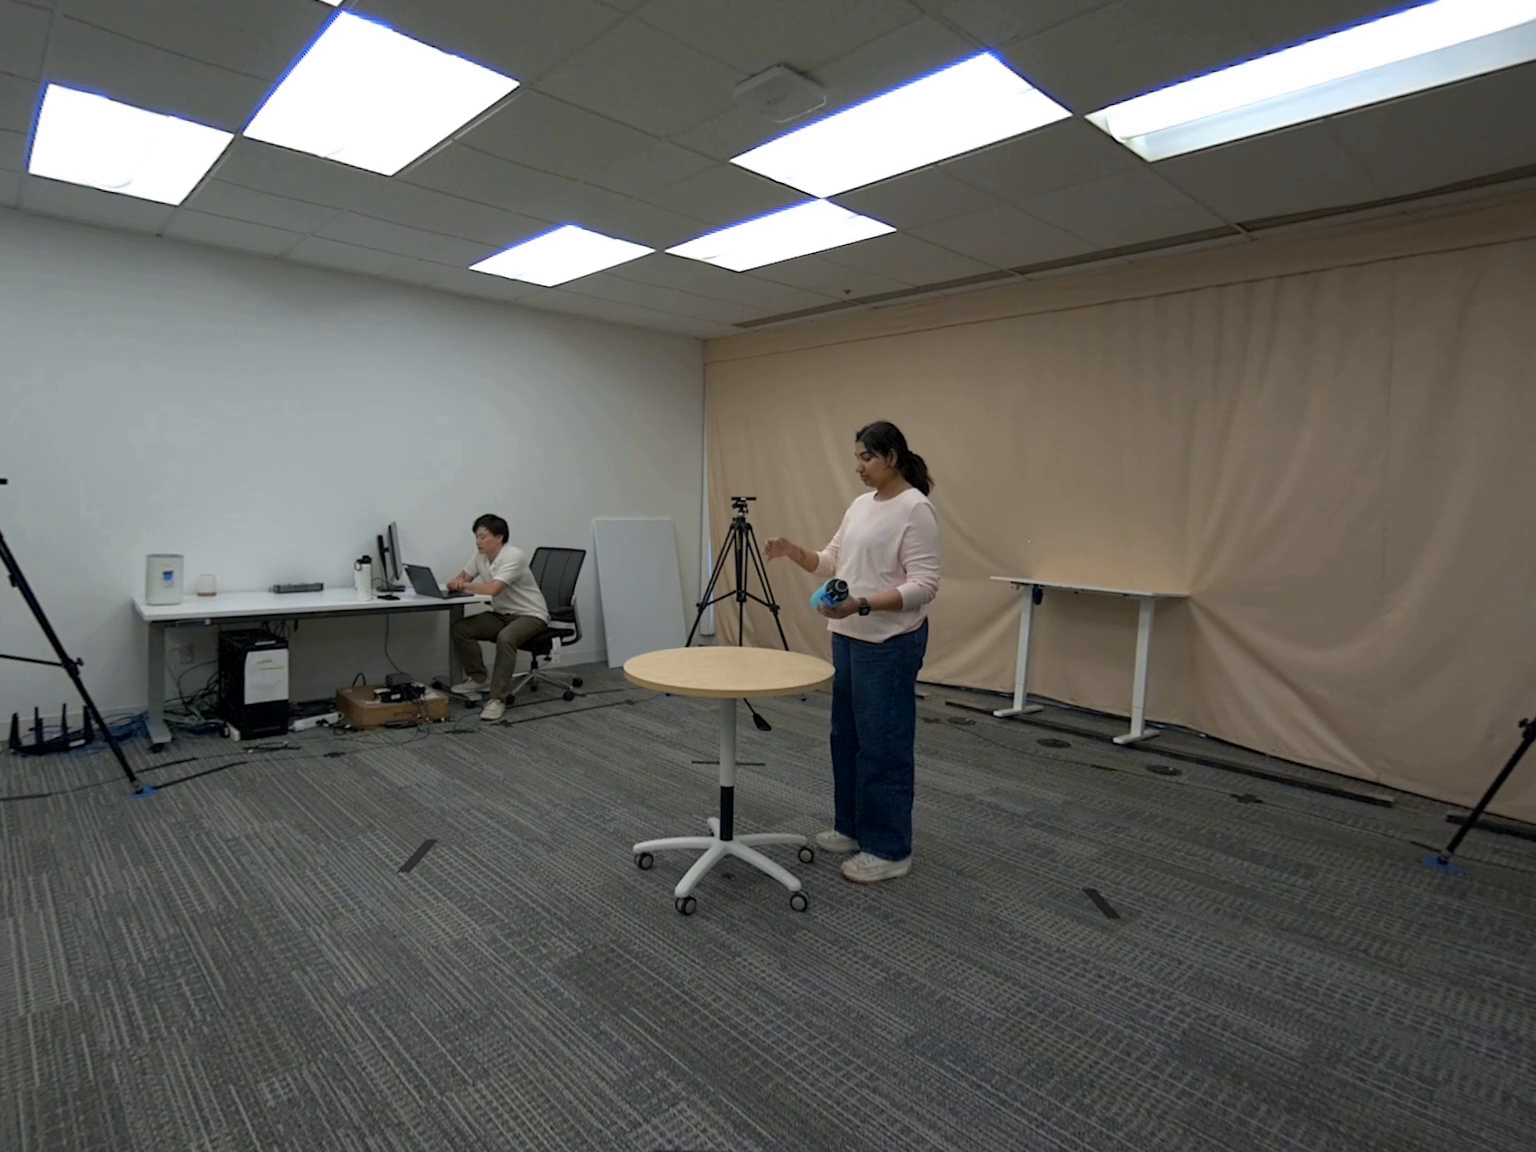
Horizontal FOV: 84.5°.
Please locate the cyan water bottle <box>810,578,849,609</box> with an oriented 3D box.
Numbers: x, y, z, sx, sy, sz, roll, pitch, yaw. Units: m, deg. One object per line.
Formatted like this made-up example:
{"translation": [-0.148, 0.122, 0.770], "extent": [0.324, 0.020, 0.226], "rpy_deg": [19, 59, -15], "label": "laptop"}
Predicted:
{"translation": [0.203, 0.063, 2.887], "extent": [0.092, 0.093, 0.280], "rpy_deg": [2, -9, 2], "label": "cyan water bottle"}
